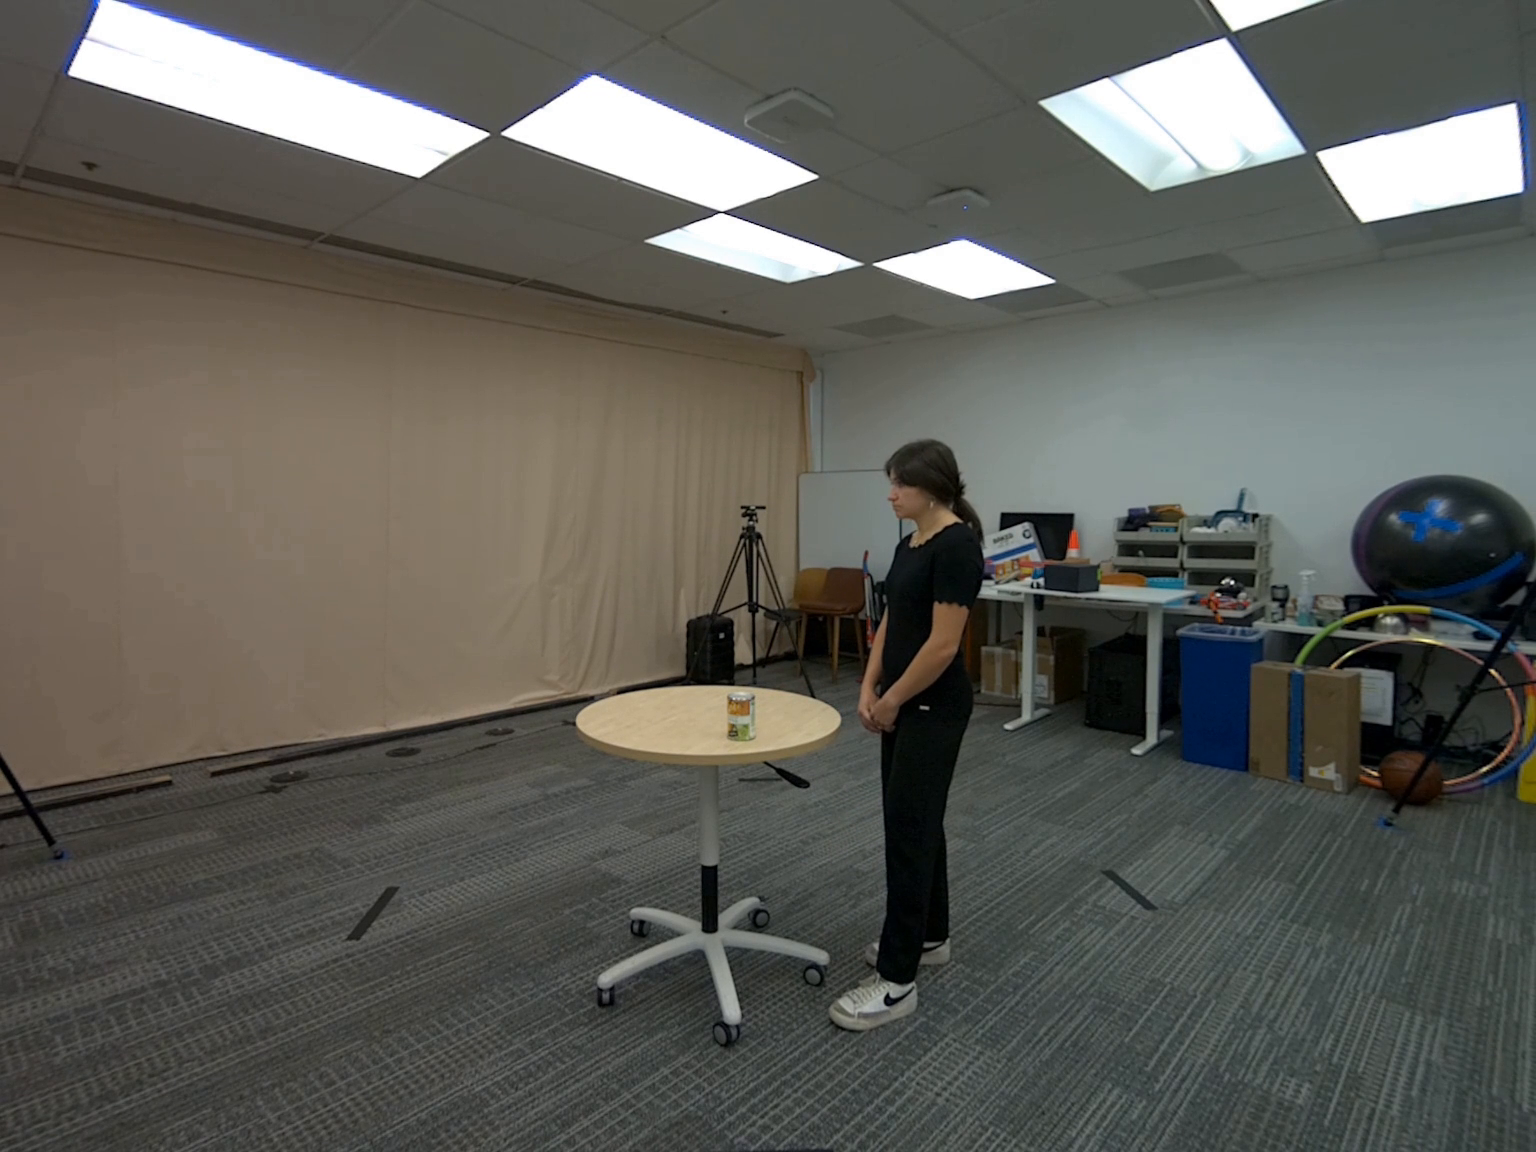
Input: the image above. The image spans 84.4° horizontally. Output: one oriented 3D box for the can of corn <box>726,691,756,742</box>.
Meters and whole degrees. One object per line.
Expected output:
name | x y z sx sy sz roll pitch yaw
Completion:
can of corn | -0.062 0.373 2.228 0.074 0.111 0.074 0 4 -2
